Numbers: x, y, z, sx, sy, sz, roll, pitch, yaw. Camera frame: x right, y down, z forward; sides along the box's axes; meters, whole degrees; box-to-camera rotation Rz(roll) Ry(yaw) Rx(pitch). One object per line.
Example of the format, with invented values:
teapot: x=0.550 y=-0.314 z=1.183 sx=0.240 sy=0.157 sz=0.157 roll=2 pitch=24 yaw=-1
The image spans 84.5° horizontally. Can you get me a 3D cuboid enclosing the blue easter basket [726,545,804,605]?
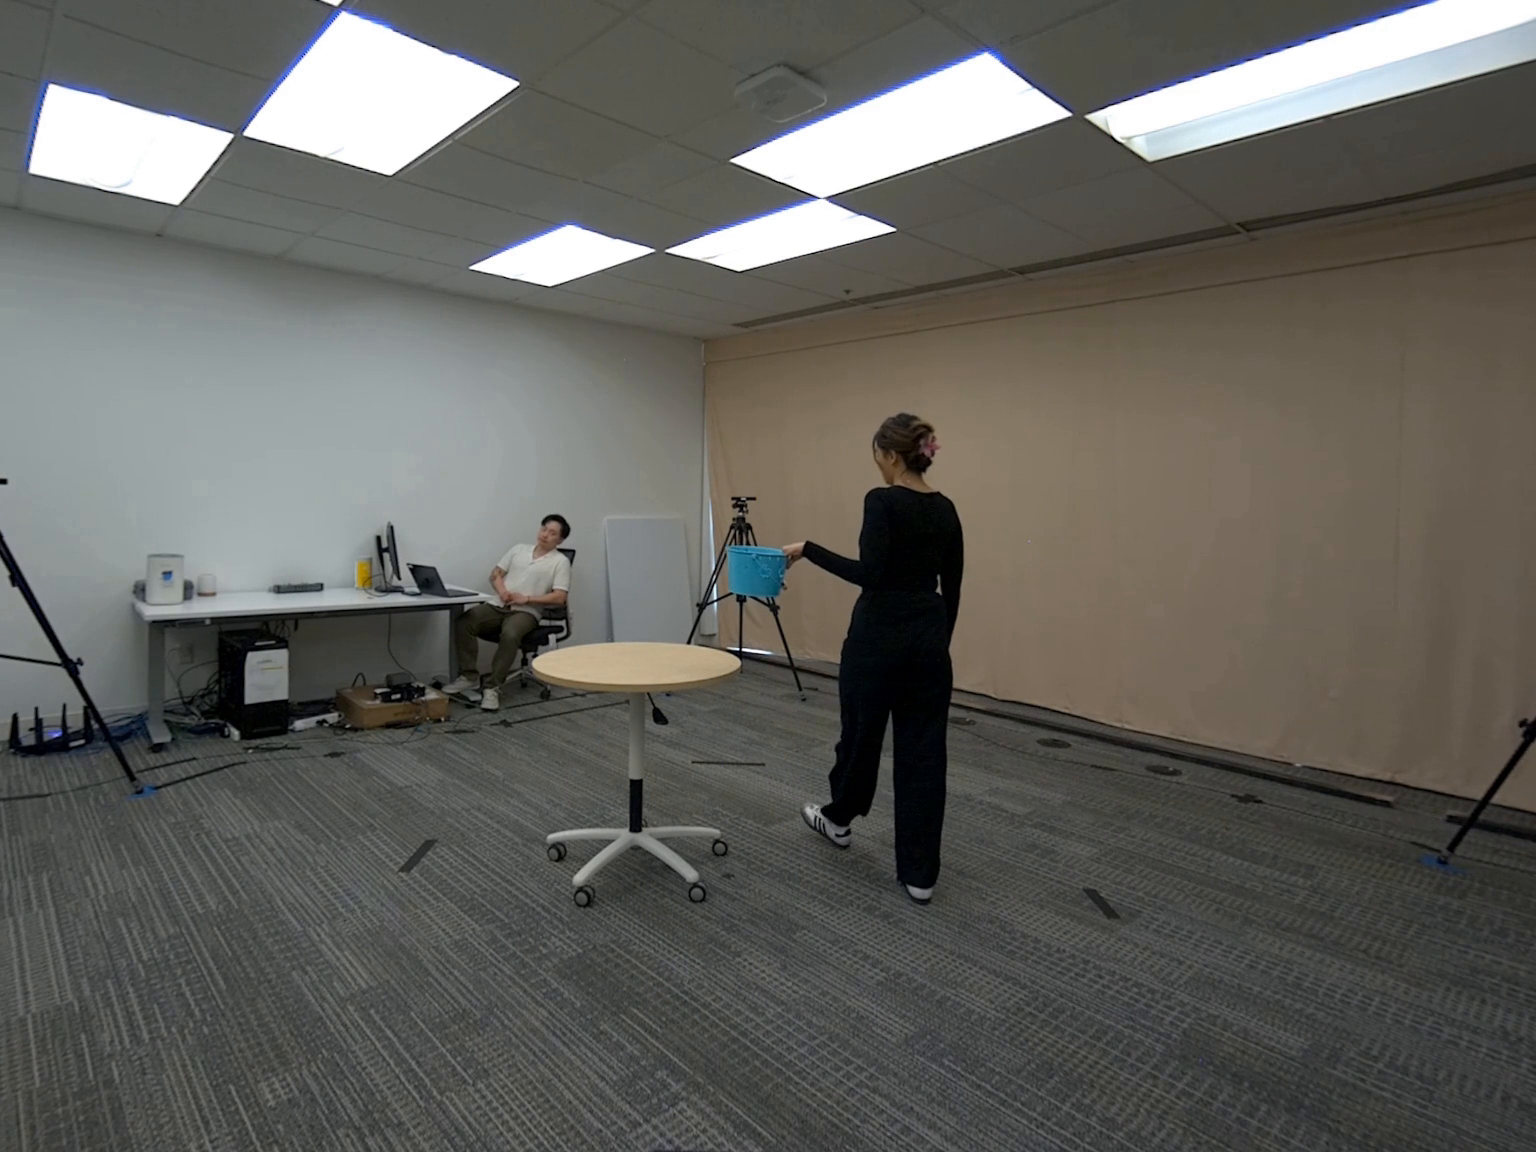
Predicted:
blue easter basket: x=-0.018 y=-0.010 z=2.968 sx=0.243 sy=0.155 sz=0.245 roll=5 pitch=6 yaw=-2
